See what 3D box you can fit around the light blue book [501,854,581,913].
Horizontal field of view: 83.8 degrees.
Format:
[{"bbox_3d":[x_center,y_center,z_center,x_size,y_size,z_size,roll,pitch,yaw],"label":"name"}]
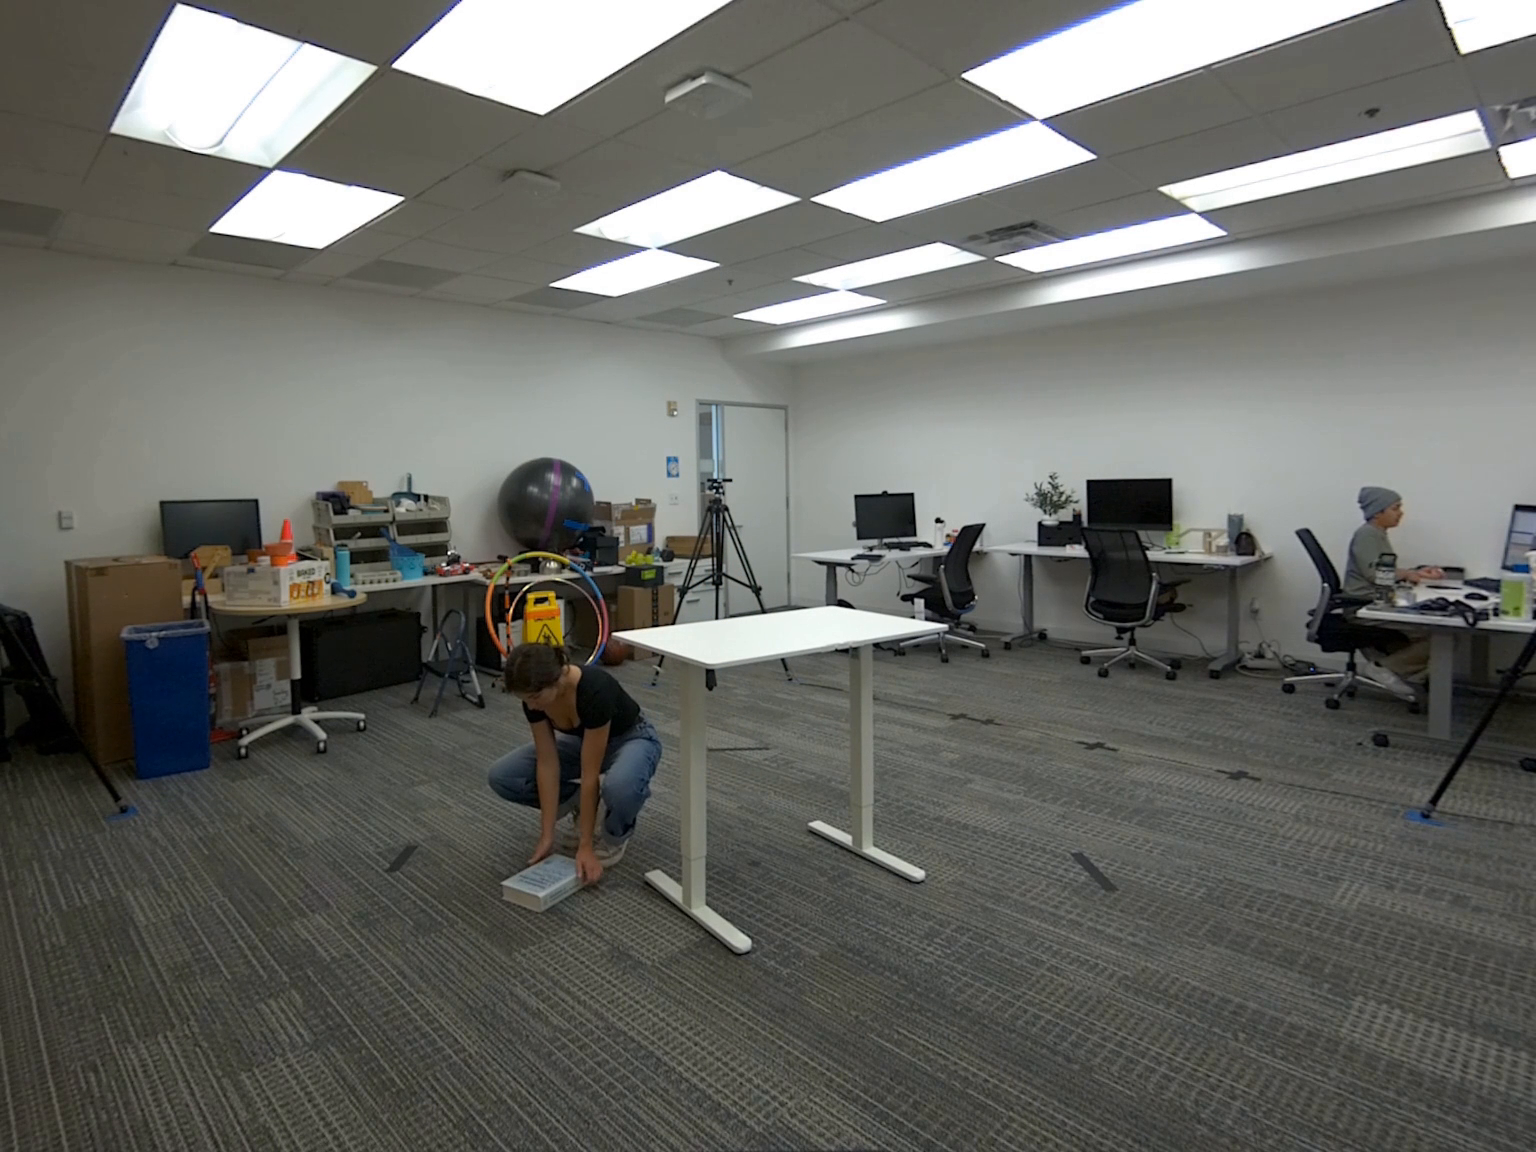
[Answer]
[{"bbox_3d":[-0.758,1.051,2.931,0.197,0.059,0.255,2,7,32],"label":"light blue book"}]
